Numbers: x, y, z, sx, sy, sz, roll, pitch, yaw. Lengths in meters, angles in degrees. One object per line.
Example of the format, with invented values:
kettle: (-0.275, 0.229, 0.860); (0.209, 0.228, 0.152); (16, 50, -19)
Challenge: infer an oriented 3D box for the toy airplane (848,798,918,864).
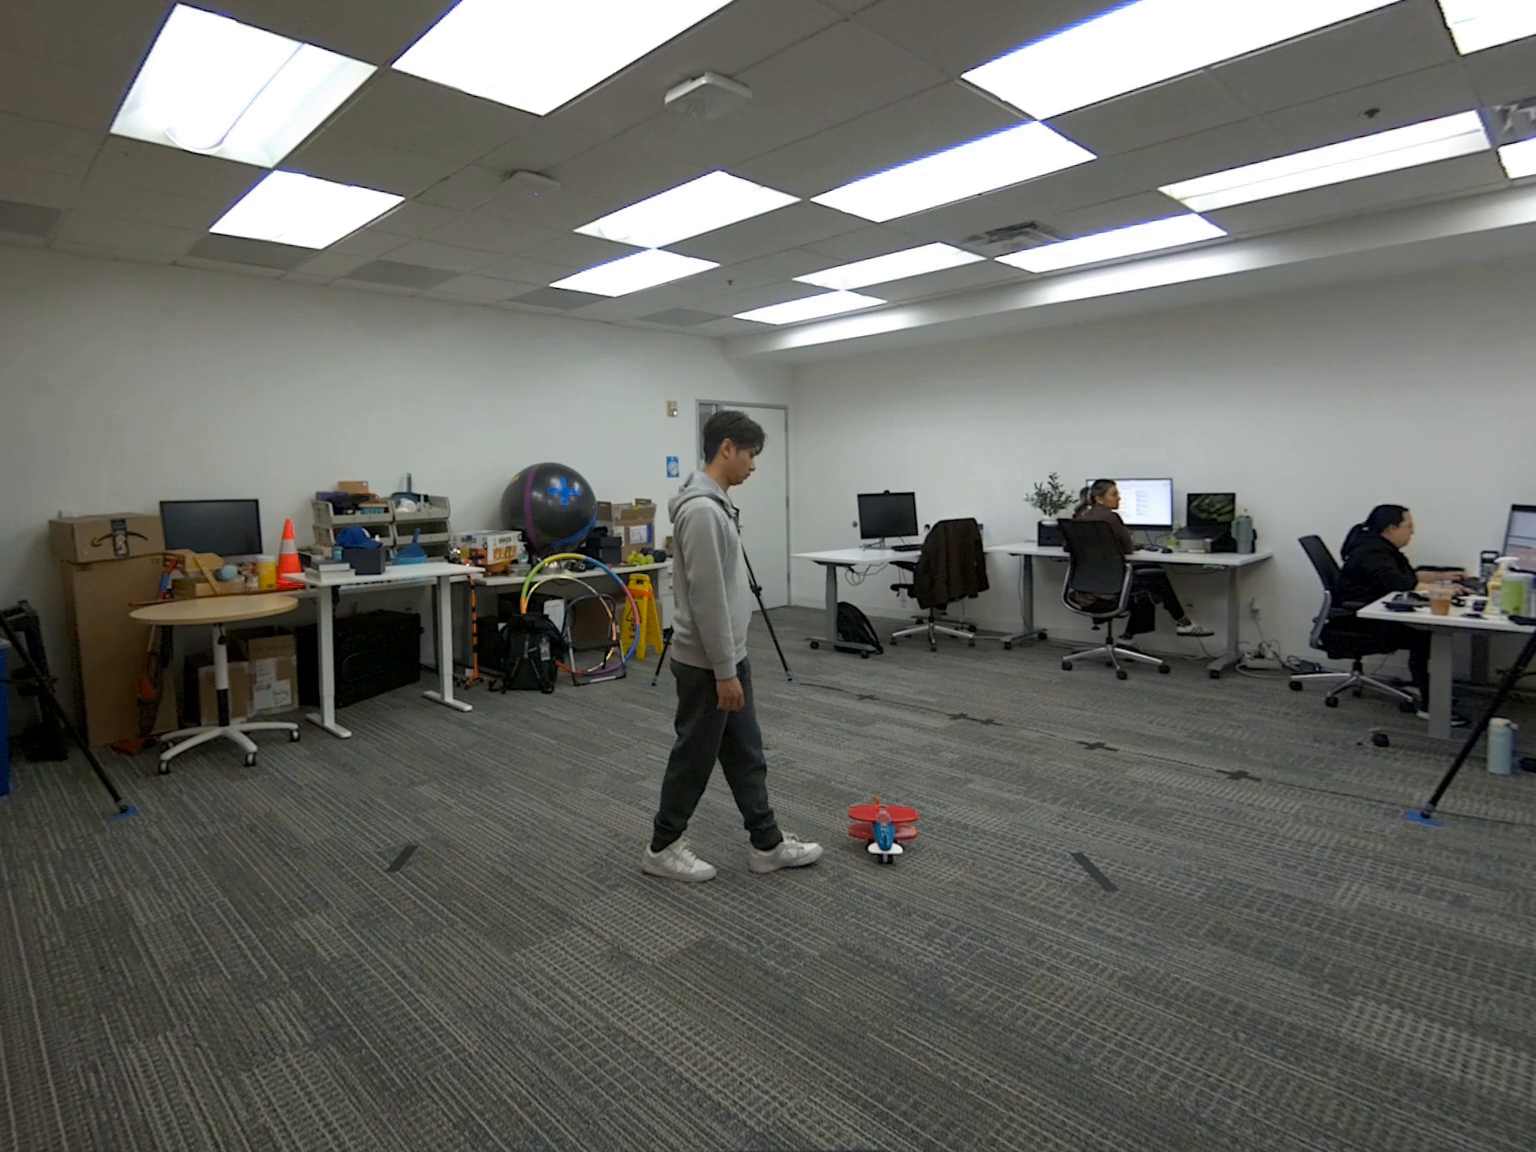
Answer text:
toy airplane: (0.455, 0.956, 3.182); (0.246, 0.156, 0.265); (-4, 5, -24)
